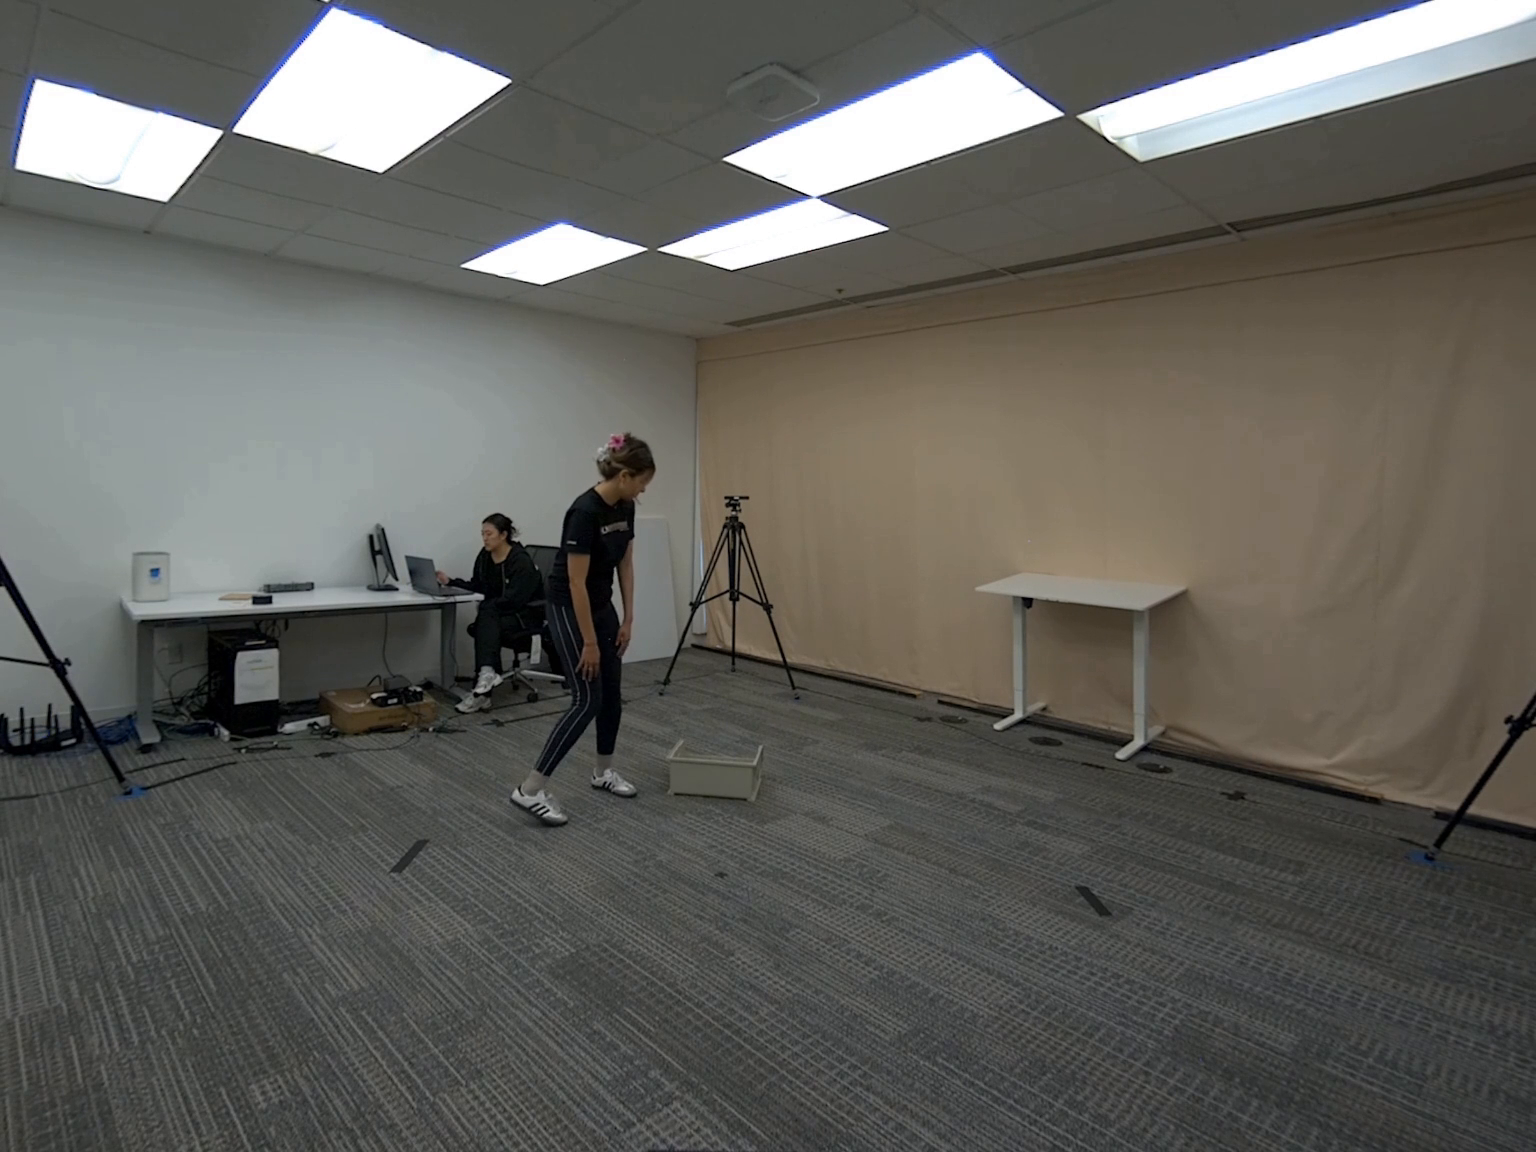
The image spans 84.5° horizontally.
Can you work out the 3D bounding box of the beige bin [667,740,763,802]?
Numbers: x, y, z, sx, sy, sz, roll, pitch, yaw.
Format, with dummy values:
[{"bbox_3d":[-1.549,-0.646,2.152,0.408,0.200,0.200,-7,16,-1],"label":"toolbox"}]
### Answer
[{"bbox_3d":[-0.258,0.928,4.081,0.425,0.188,0.376,2,5,7],"label":"beige bin"}]
